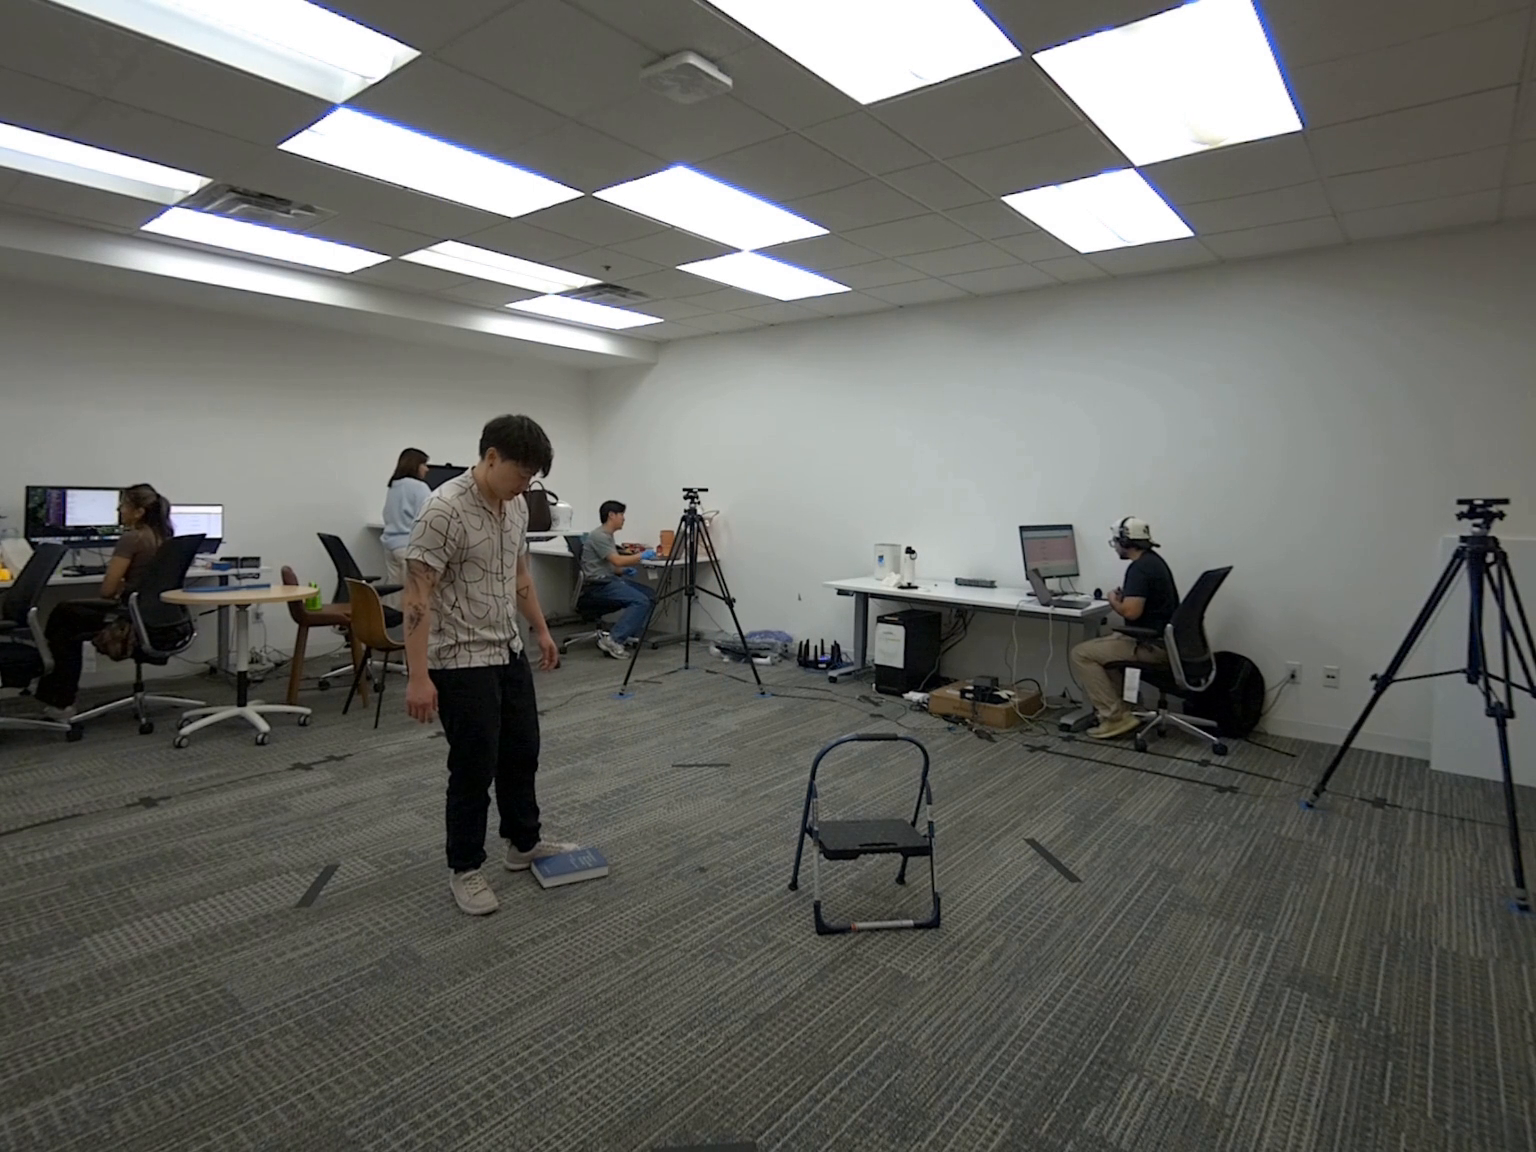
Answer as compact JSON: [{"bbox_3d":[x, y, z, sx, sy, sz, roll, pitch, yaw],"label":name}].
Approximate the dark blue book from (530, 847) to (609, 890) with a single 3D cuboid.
[{"bbox_3d":[-0.721,1.049,3.050,0.239,0.045,0.168,-2,6,-30],"label":"dark blue book"}]
